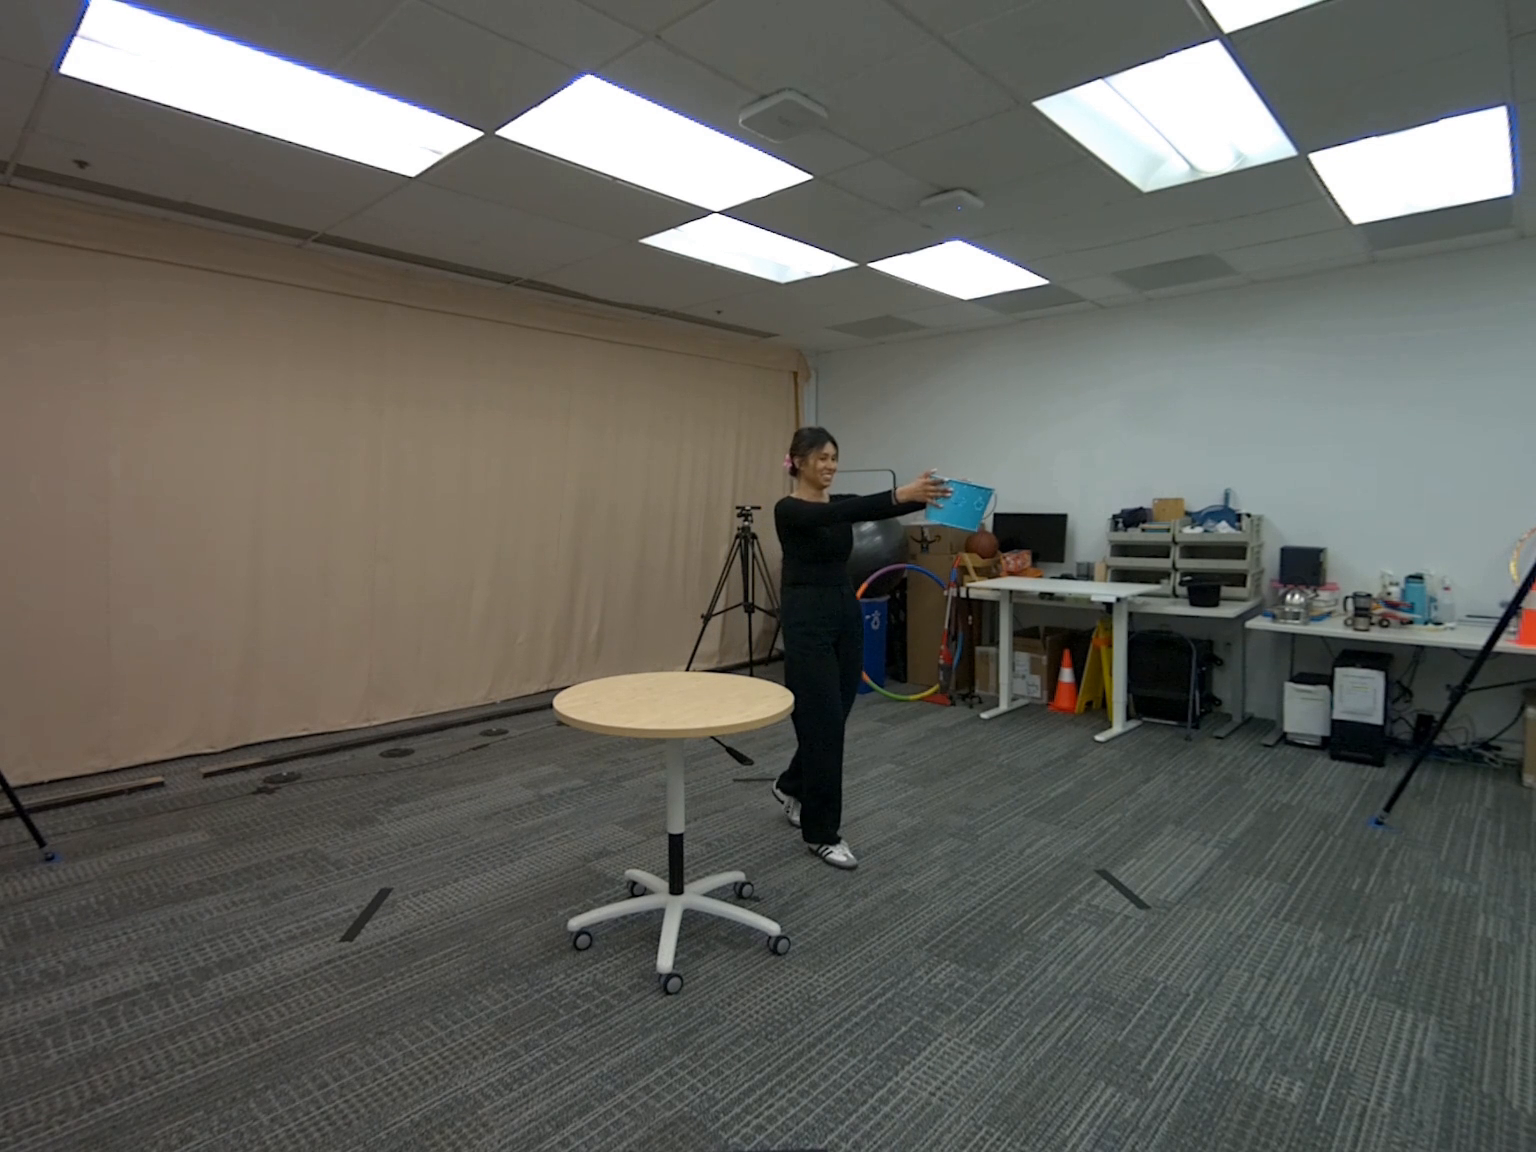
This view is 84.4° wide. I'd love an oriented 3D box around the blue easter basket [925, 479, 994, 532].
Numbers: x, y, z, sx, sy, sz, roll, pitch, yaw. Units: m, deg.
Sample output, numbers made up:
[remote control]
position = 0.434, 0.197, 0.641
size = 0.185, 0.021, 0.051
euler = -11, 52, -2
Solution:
[blue easter basket]
position = 0.663, -0.243, 2.904
size = 0.243, 0.155, 0.245
euler = 11, 6, -3
